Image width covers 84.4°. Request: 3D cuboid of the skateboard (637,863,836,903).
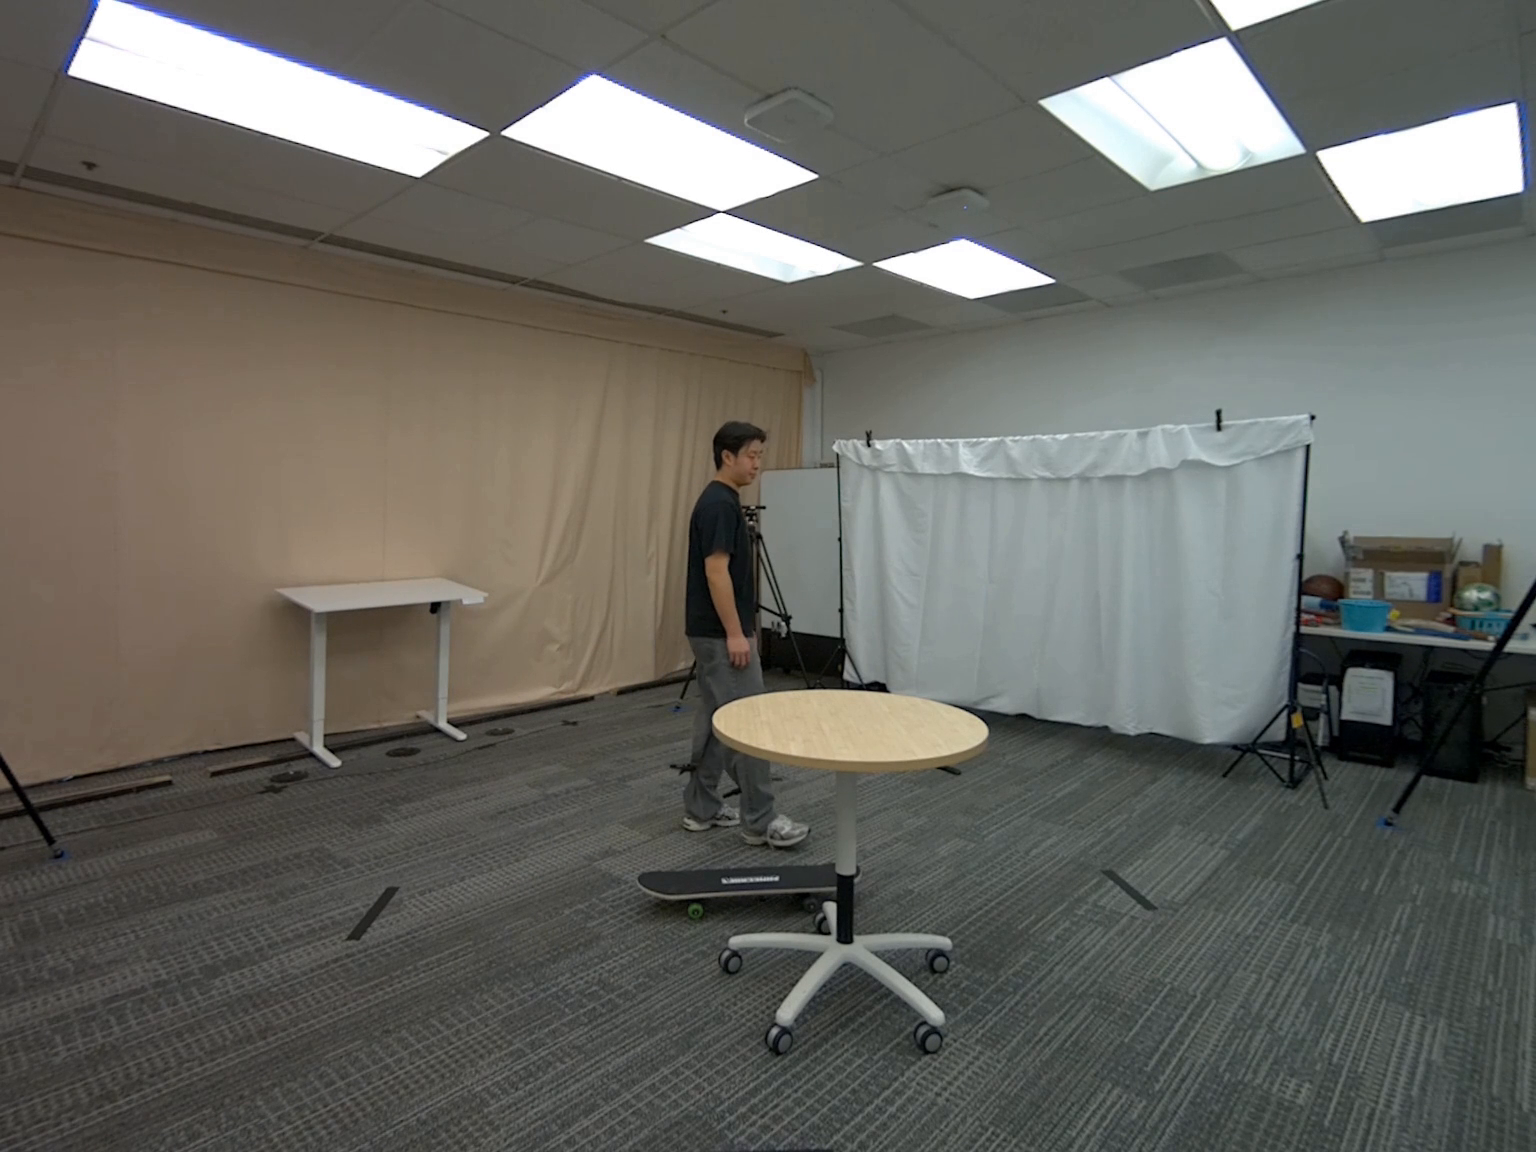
[{"bbox_3d":[-0.061,1.086,2.944,0.780,0.110,0.195,0,5,-6],"label":"skateboard"}]
